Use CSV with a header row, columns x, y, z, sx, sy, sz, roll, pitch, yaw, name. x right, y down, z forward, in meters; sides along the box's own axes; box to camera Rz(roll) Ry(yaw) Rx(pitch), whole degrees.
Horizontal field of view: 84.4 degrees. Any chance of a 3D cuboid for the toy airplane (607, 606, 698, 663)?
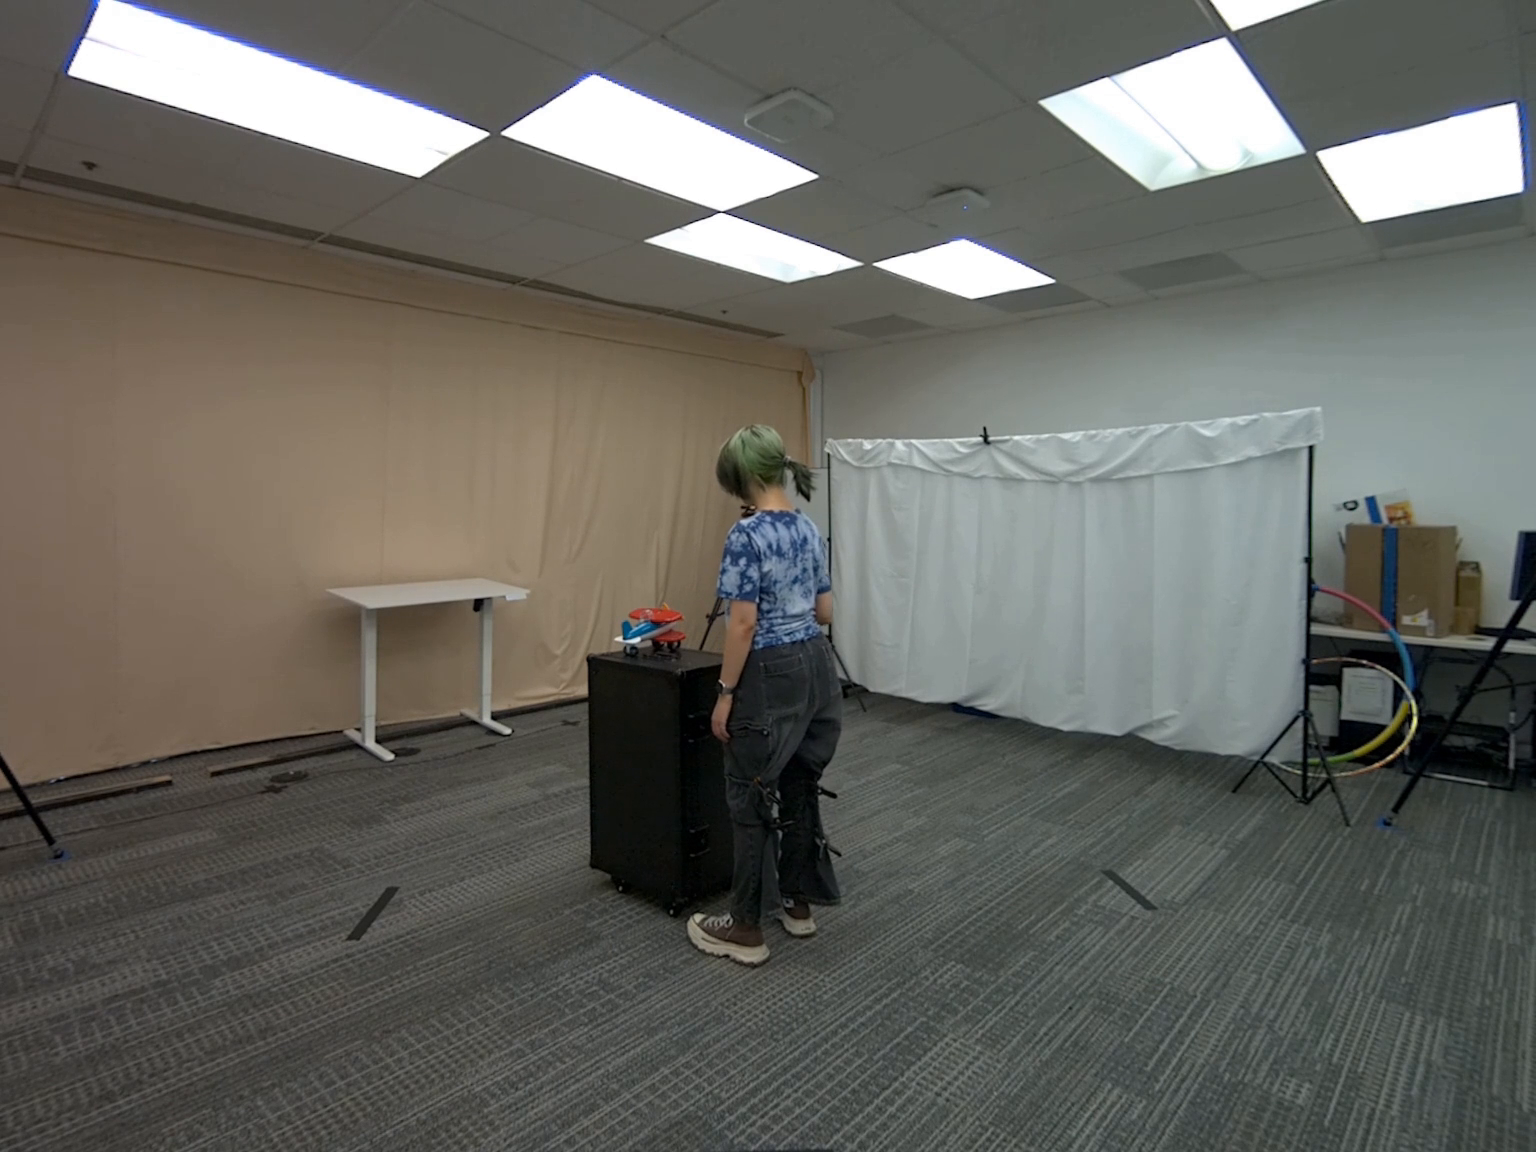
x,y,z,sx,sy,sz,roll,pitch,yaw,name
-0.422,0.210,3.119,0.255,0.156,0.255,3,4,14,toy airplane
